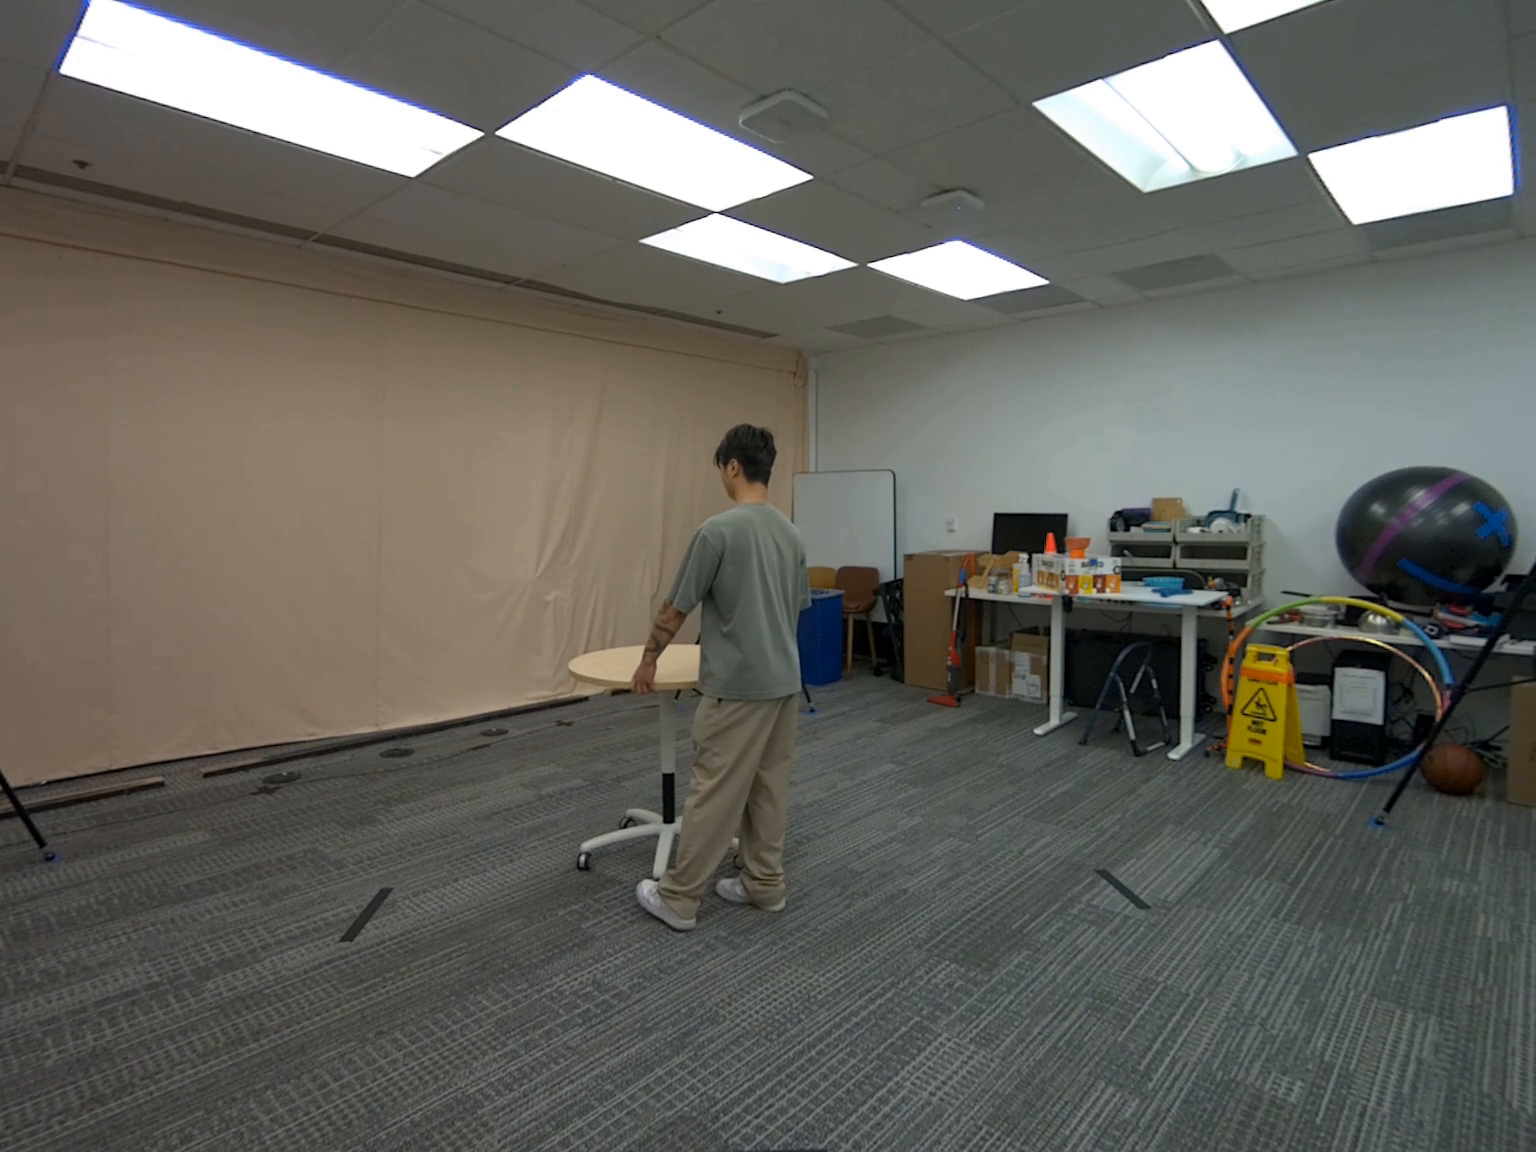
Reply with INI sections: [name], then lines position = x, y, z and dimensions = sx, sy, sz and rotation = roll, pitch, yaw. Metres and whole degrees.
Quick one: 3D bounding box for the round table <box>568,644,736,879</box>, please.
[round table]
position = -0.401, 0.721, 3.341
dimensions = 0.784, 0.784, 0.788
rotation = 0, 4, -2
